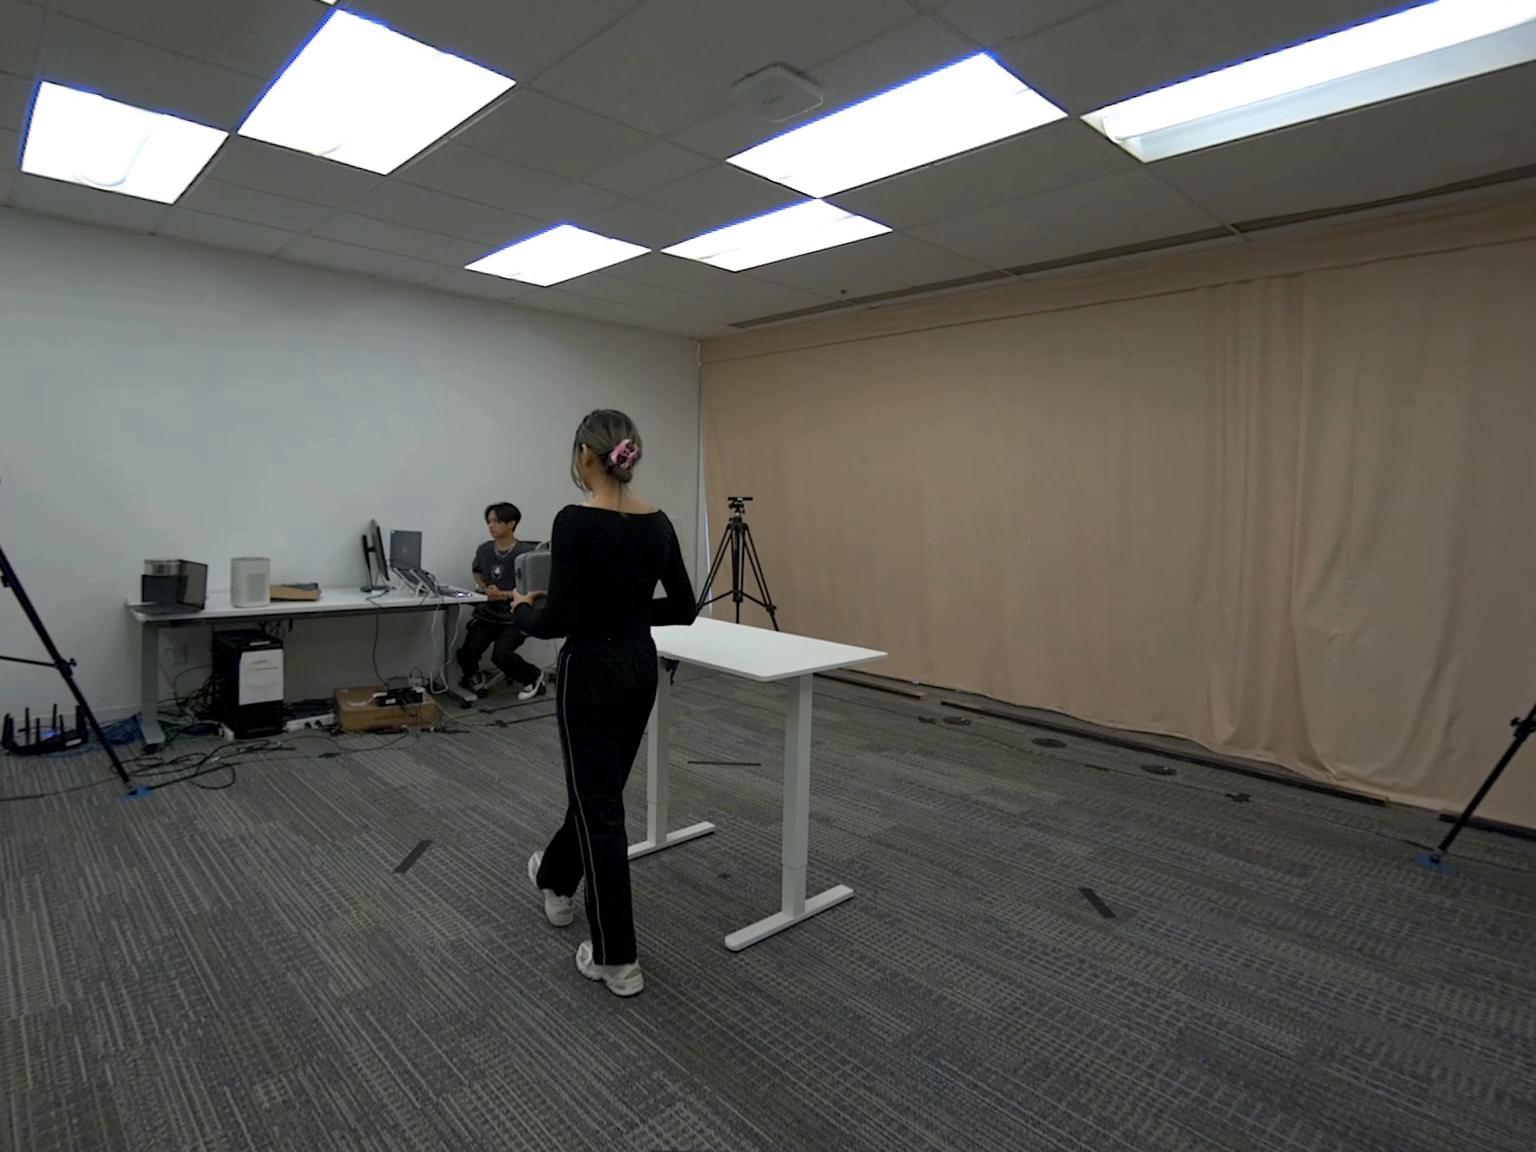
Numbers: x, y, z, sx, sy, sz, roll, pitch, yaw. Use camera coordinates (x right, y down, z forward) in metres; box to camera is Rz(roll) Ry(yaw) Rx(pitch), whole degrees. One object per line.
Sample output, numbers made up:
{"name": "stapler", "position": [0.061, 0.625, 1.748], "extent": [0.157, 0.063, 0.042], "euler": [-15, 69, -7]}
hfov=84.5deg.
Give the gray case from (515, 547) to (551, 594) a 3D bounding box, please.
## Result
{"name": "gray case", "position": [-0.641, 0.048, 2.585], "extent": [0.251, 0.261, 0.106], "euler": [-3, -5, -42]}
